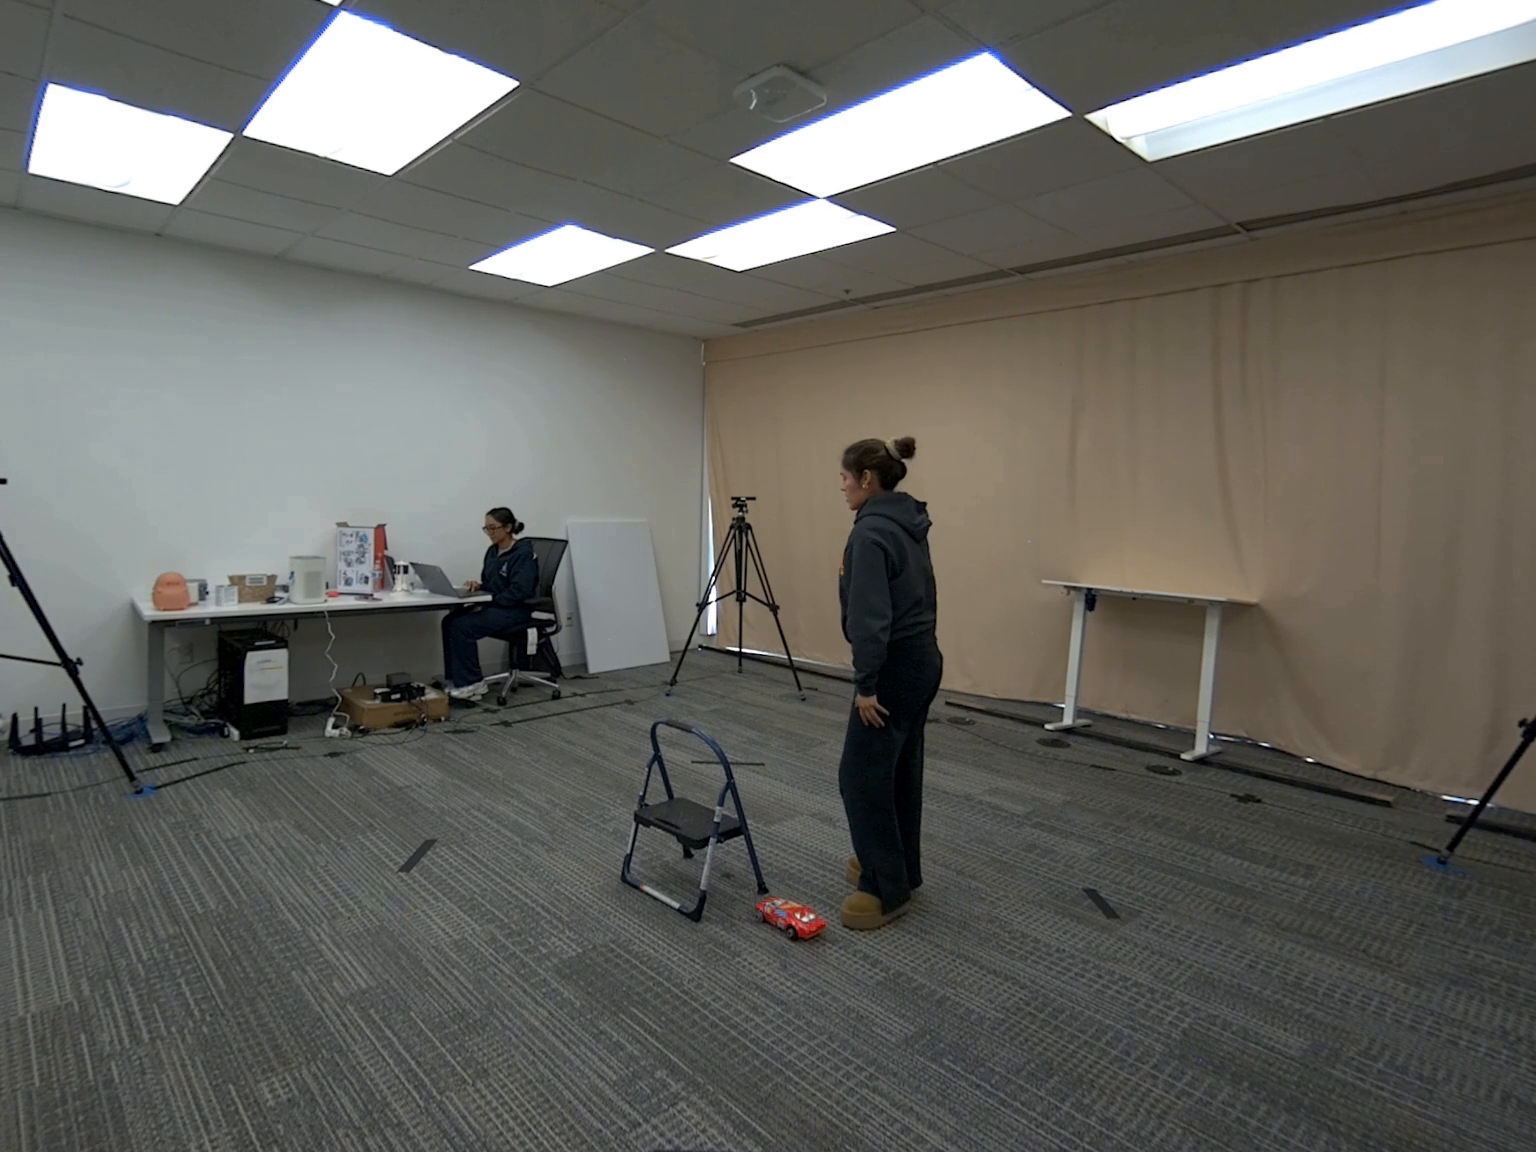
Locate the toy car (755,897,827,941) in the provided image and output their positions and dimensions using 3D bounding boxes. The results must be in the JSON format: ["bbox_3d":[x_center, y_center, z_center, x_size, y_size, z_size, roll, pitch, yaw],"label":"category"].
[{"bbox_3d":[0.070,1.116,2.740,0.127,0.083,0.259,-3,-4,-43],"label":"toy car"}]
